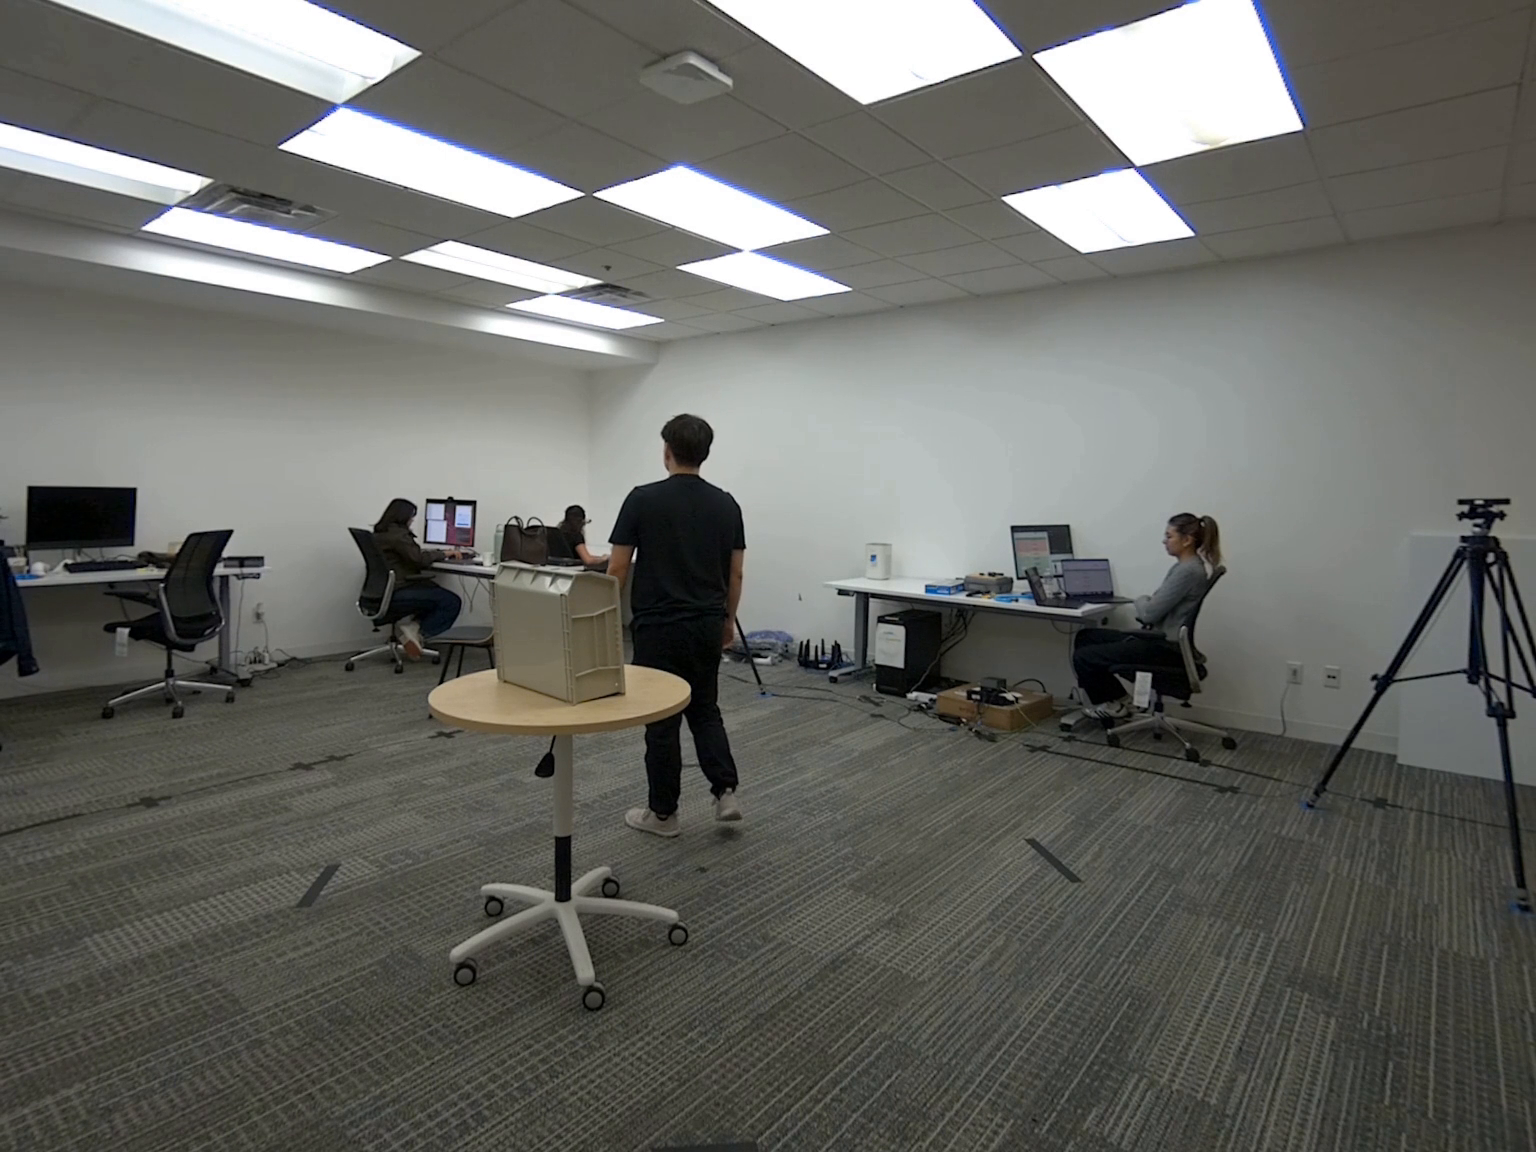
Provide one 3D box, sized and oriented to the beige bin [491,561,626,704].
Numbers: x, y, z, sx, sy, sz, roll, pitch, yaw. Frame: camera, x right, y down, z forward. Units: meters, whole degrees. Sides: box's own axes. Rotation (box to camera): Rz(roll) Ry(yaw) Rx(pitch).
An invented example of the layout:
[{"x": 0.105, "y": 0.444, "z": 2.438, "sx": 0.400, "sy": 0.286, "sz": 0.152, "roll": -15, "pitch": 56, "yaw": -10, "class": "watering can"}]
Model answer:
[{"x": -0.646, "y": 0.154, "z": 2.534, "sx": 0.437, "sy": 0.374, "sz": 0.184, "roll": 6, "pitch": 11, "yaw": 44, "class": "beige bin"}]
